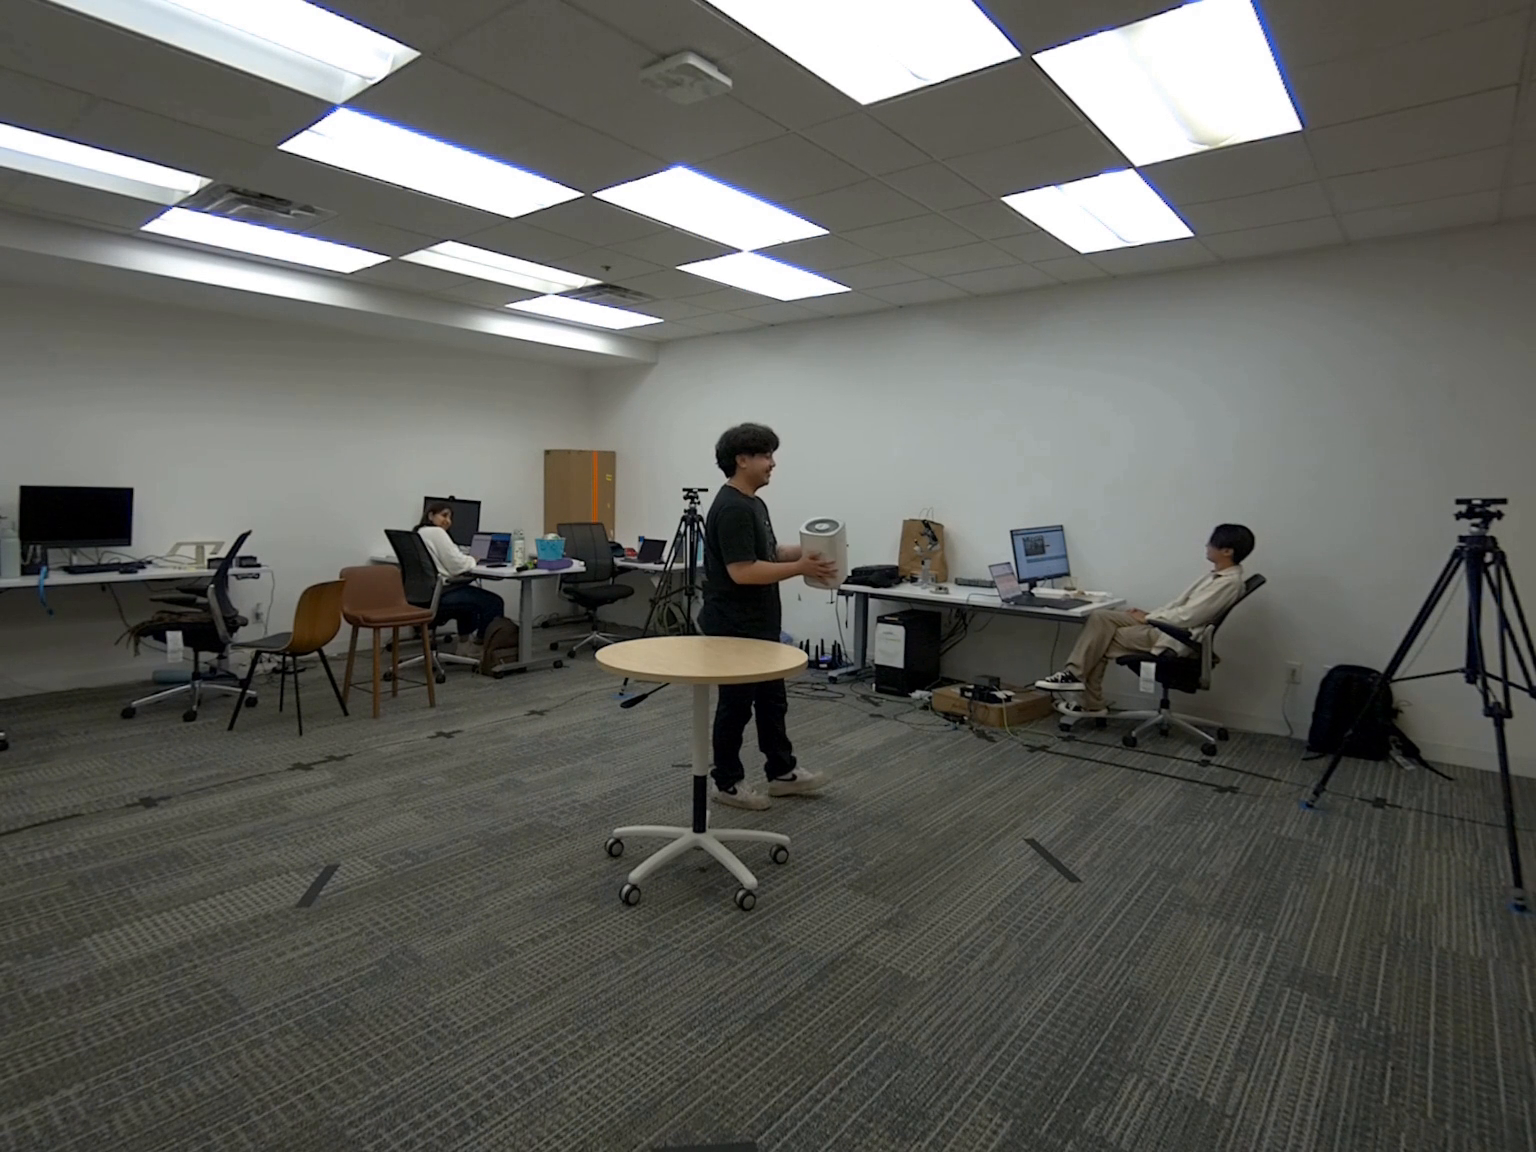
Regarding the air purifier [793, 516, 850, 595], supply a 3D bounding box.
[{"bbox_3d":[0.230,-0.091,3.594,0.176,0.259,0.171,7,30,25],"label":"air purifier"}]
